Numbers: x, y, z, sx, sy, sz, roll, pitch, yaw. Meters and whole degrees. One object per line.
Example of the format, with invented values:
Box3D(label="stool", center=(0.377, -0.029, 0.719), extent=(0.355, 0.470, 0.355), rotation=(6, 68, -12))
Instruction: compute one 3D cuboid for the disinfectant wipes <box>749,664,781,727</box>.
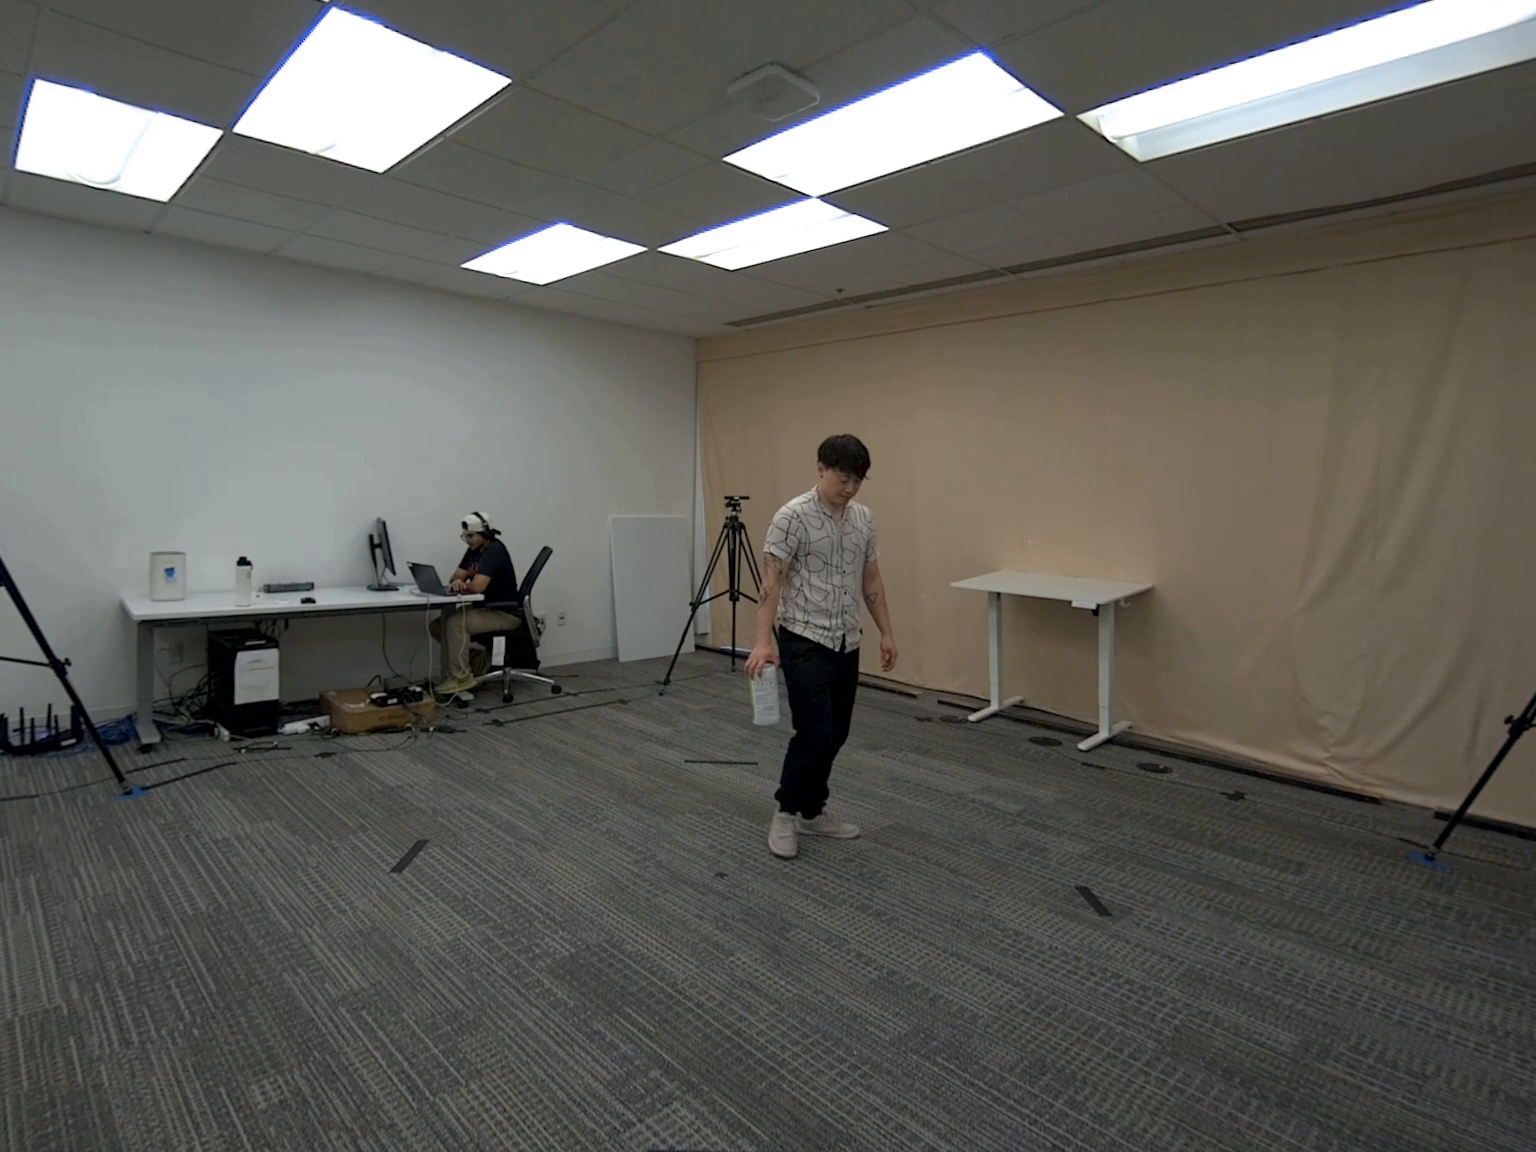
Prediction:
Box3D(label="disinfectant wipes", center=(-0.028, 0.454, 3.199), extent=(0.118, 0.217, 0.118), rotation=(-5, 4, -1))
